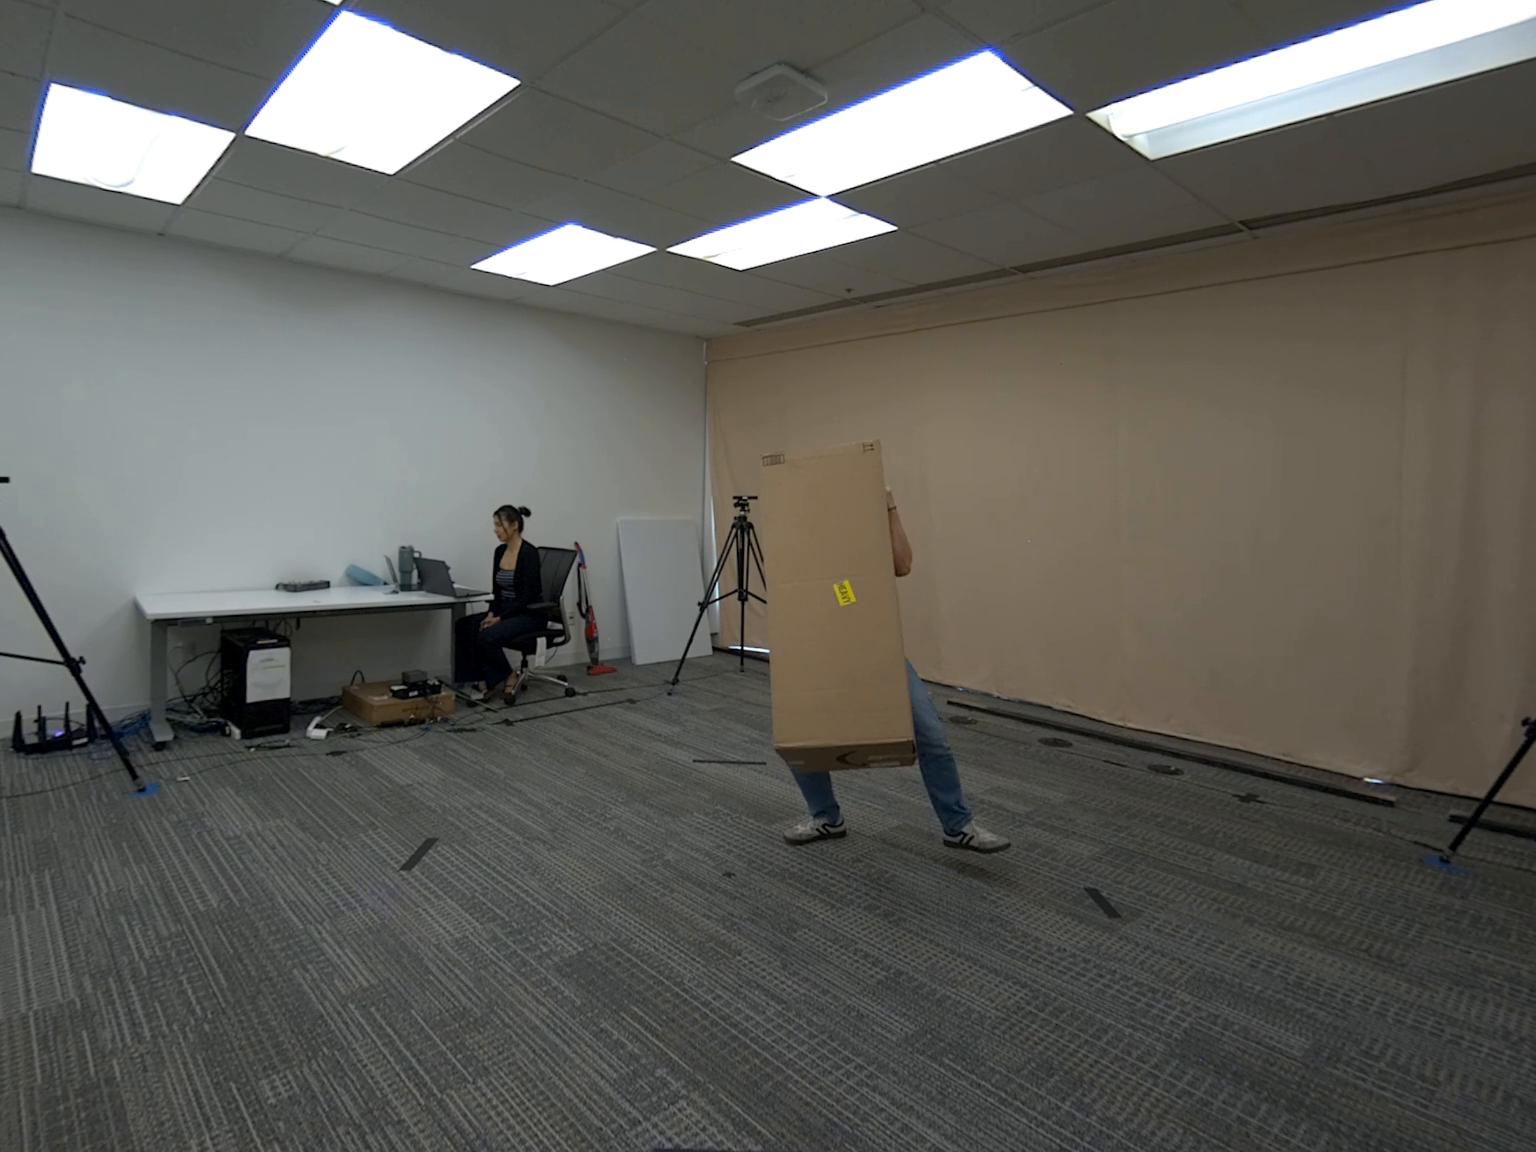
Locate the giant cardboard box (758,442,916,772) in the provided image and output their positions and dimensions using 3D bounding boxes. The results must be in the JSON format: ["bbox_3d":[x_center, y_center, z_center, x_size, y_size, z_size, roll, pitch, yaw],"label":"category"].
[{"bbox_3d":[0.242,0.133,2.977,0.429,1.042,0.564,-6,-22,8],"label":"giant cardboard box"}]
